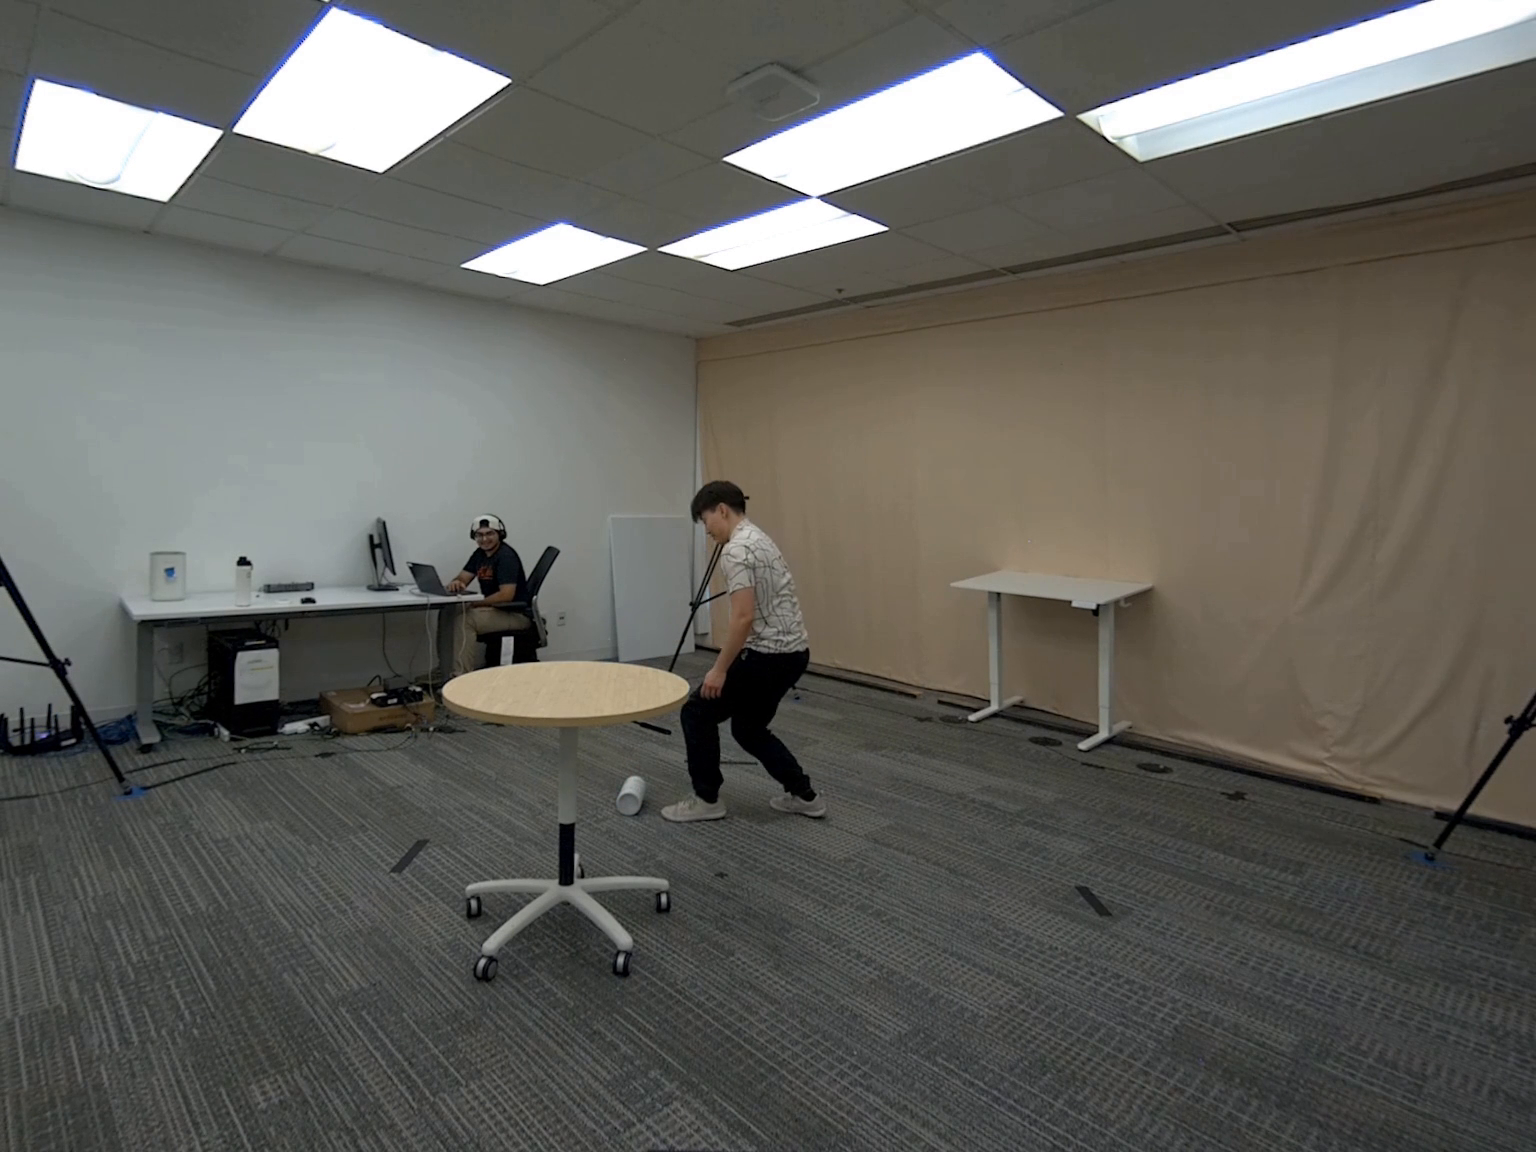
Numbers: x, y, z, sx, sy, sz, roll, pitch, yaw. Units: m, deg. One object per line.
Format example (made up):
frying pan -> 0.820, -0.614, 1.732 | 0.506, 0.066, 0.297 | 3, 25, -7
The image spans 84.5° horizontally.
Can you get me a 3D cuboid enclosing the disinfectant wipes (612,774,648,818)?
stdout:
disinfectant wipes -> -0.615, 0.972, 3.758 | 0.118, 0.117, 0.217 | 1, 3, 1
